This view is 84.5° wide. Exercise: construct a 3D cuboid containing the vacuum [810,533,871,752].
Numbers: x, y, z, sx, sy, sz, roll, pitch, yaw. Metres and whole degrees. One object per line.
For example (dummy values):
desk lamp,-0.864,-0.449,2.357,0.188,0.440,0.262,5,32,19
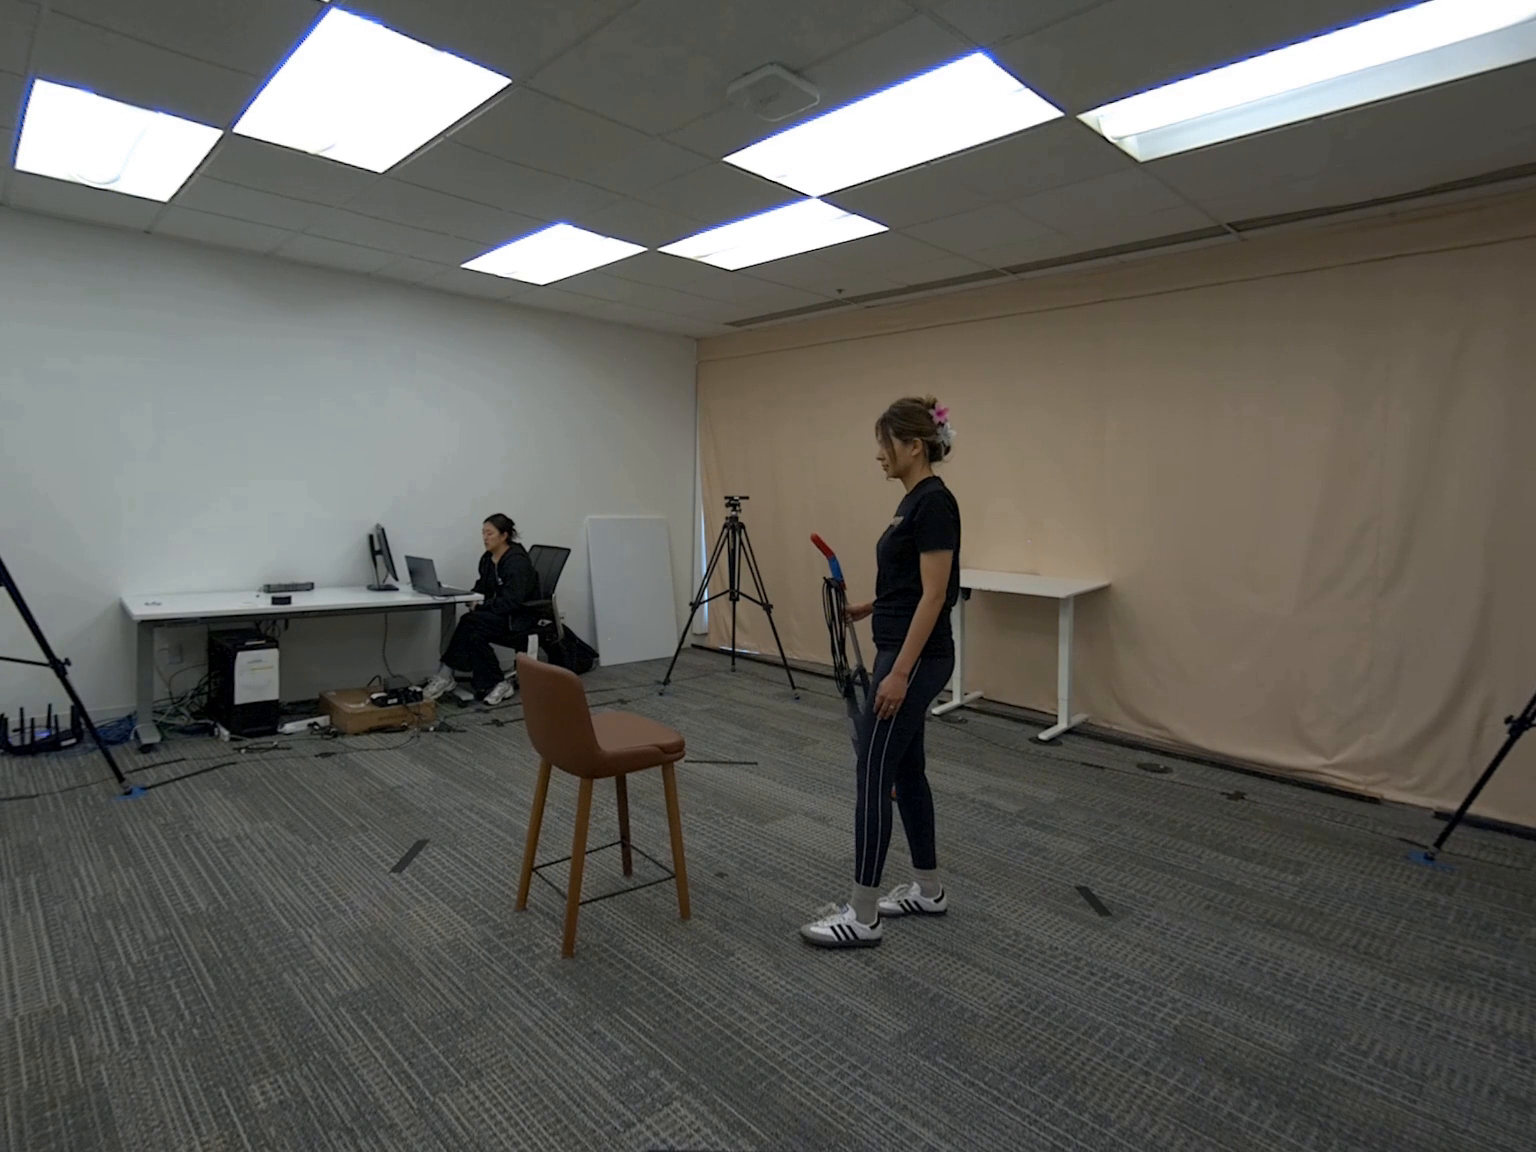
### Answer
vacuum,0.305,0.353,3.103,0.142,1.039,0.258,-20,11,-26
